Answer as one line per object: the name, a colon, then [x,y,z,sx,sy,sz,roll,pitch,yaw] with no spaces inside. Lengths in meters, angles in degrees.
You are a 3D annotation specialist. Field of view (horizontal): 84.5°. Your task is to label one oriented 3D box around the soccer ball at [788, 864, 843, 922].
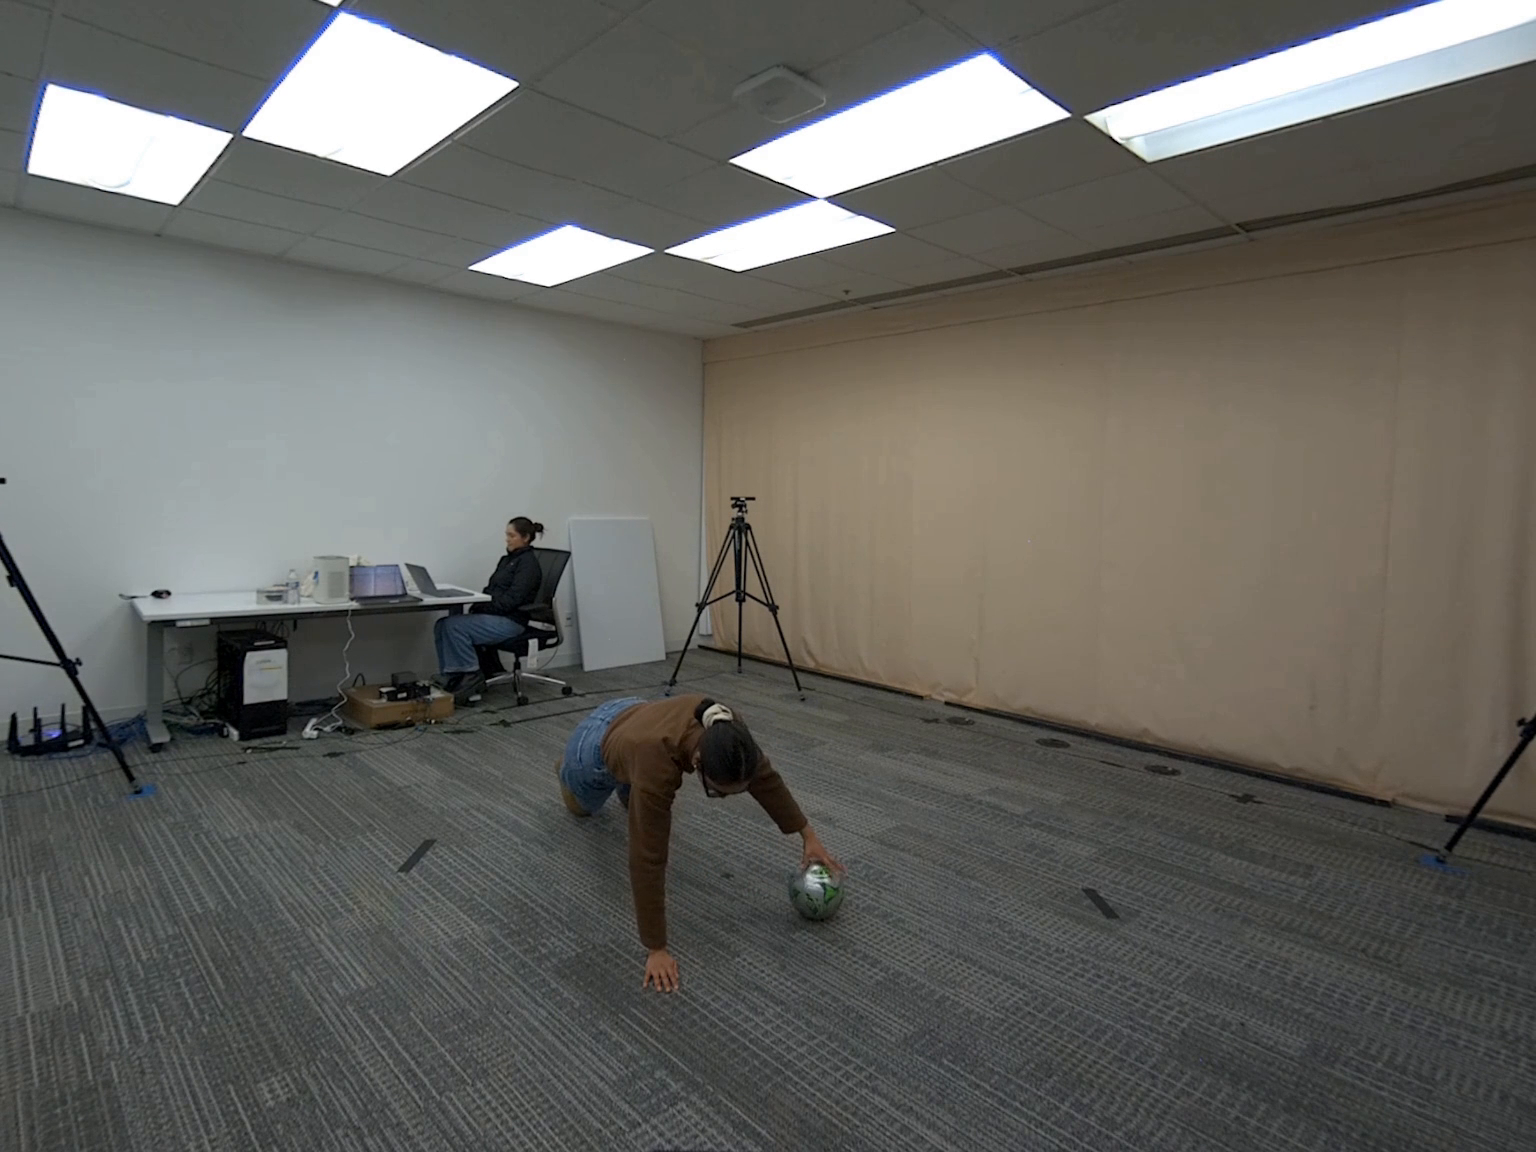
soccer ball: [0.149,1.040,2.808,0.187,0.187,0.188,1,4,-1]
